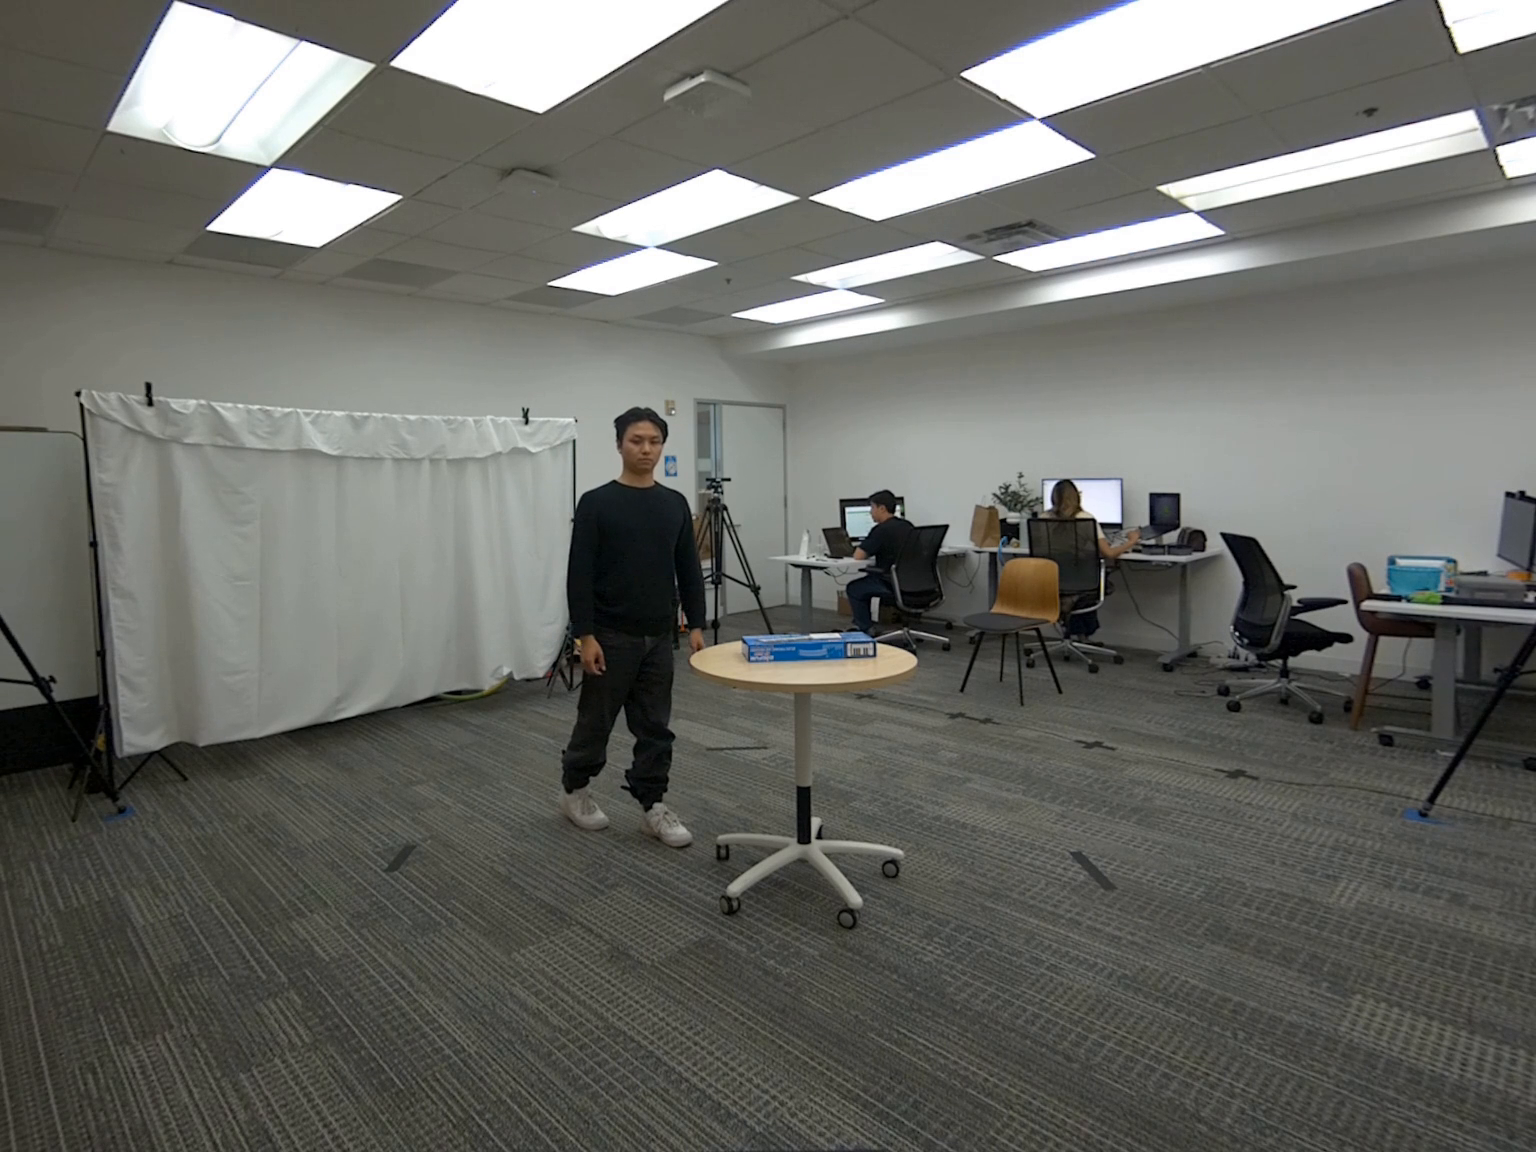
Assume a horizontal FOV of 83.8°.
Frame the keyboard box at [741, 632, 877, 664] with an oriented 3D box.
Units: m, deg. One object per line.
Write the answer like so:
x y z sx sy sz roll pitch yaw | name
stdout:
0.141 0.241 2.947 0.434 0.059 0.178 -2 5 -7 | keyboard box
